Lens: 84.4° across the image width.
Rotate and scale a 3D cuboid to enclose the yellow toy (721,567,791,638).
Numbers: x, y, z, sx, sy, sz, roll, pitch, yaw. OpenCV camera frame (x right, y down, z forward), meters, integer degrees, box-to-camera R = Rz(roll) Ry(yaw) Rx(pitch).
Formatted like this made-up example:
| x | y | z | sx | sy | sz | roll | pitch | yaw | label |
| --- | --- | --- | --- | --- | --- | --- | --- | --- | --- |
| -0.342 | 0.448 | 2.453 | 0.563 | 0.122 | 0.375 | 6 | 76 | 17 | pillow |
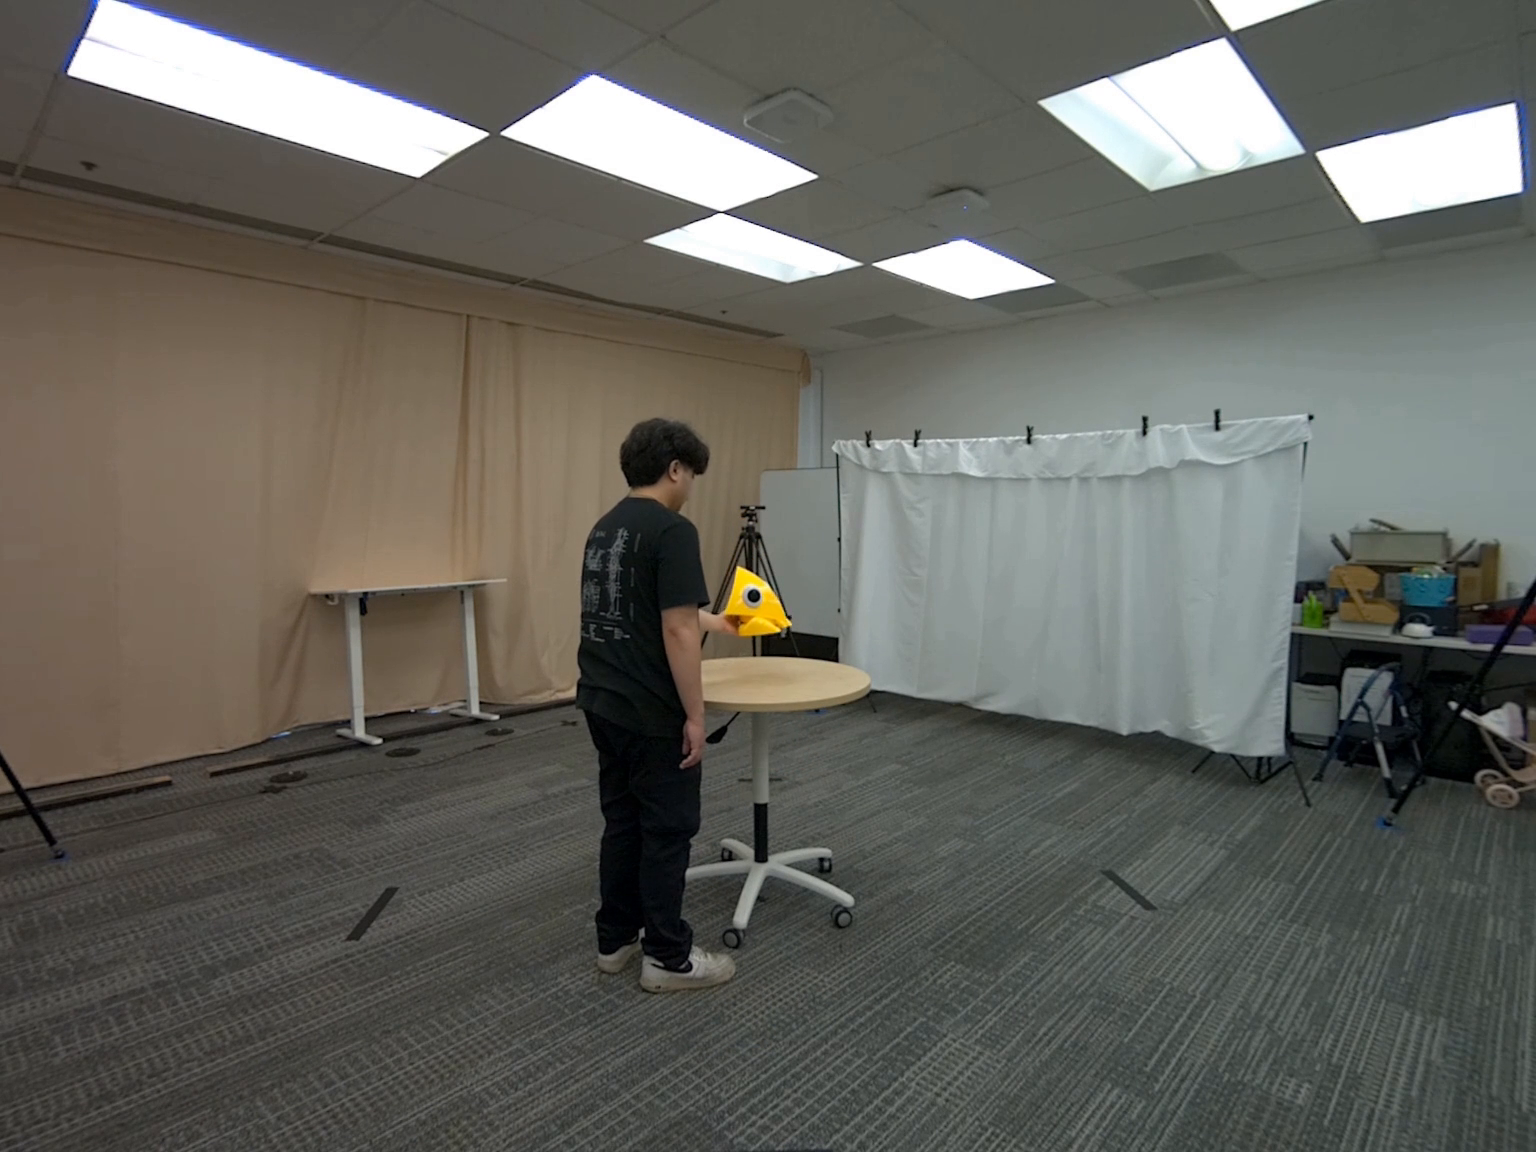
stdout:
| x | y | z | sx | sy | sz | roll | pitch | yaw | label |
| --- | --- | --- | --- | --- | --- | --- | --- | --- | --- |
| -0.033 | 0.076 | 2.932 | 0.197 | 0.230 | 0.201 | -6 | 4 | 21 | yellow toy |
